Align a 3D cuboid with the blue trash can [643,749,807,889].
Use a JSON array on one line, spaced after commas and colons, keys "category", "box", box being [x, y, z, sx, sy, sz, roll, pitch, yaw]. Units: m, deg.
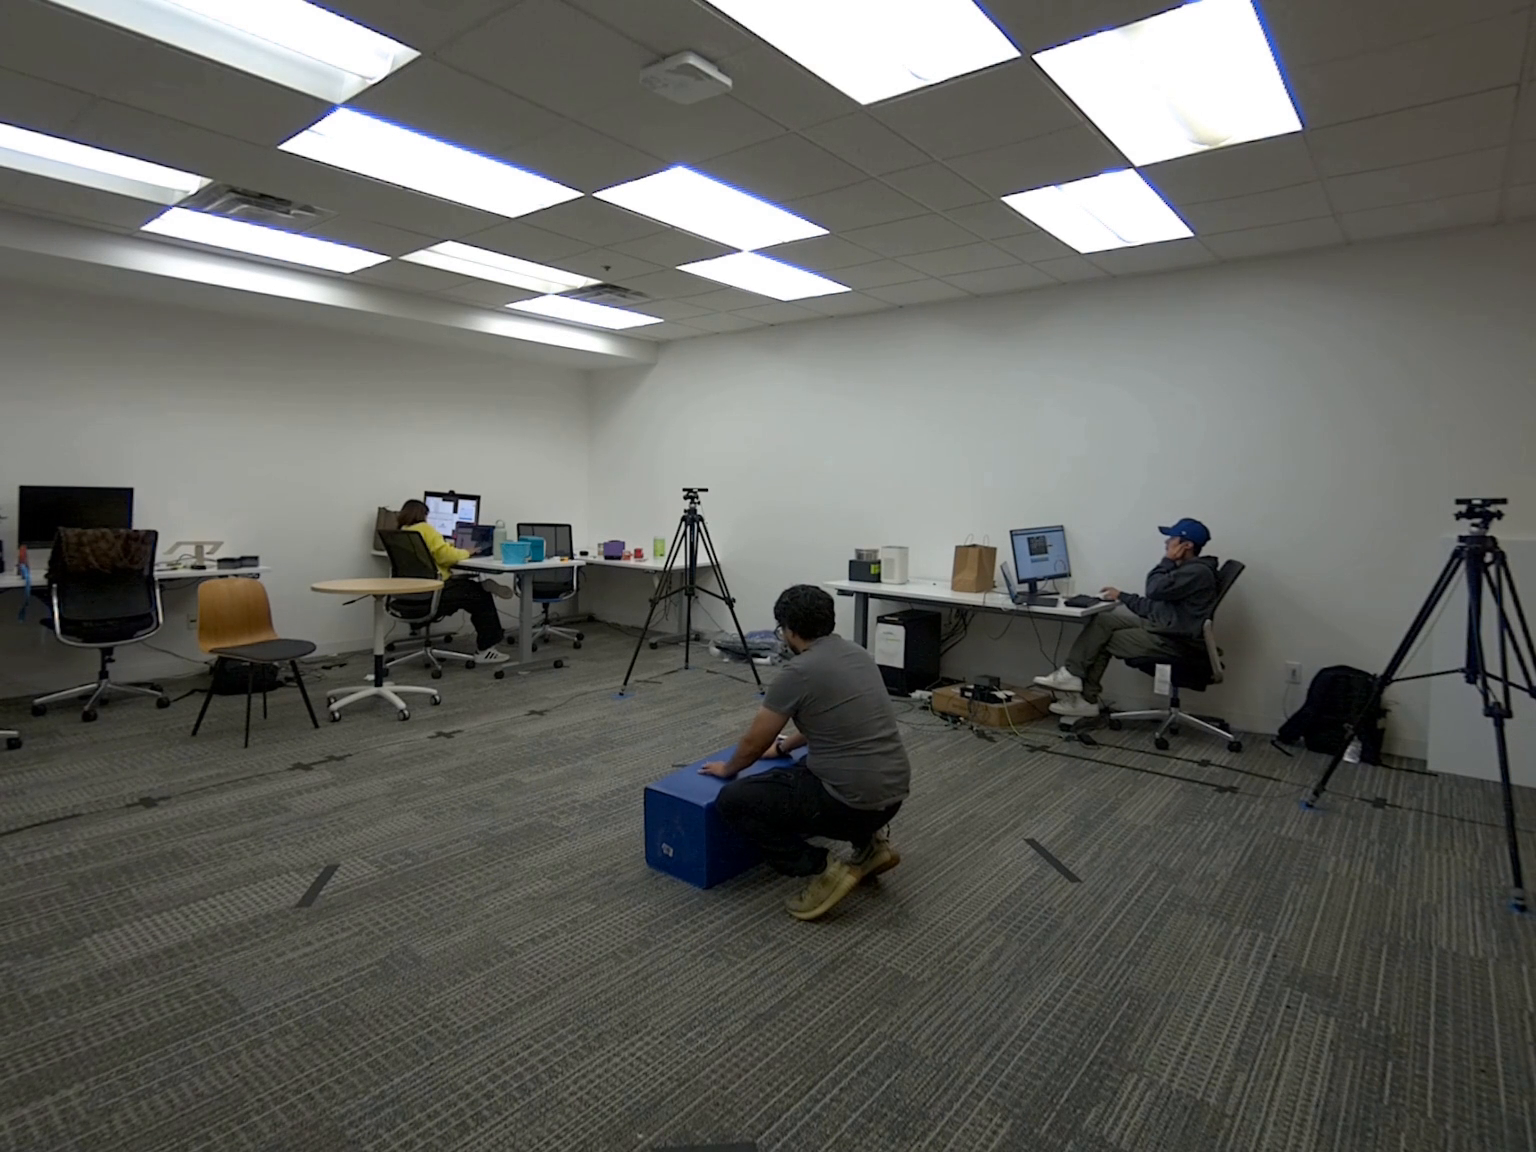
[{"category": "blue trash can", "box": [-0.136, 0.880, 3.292, 0.387, 0.376, 0.694, 5, 8, 39]}]
